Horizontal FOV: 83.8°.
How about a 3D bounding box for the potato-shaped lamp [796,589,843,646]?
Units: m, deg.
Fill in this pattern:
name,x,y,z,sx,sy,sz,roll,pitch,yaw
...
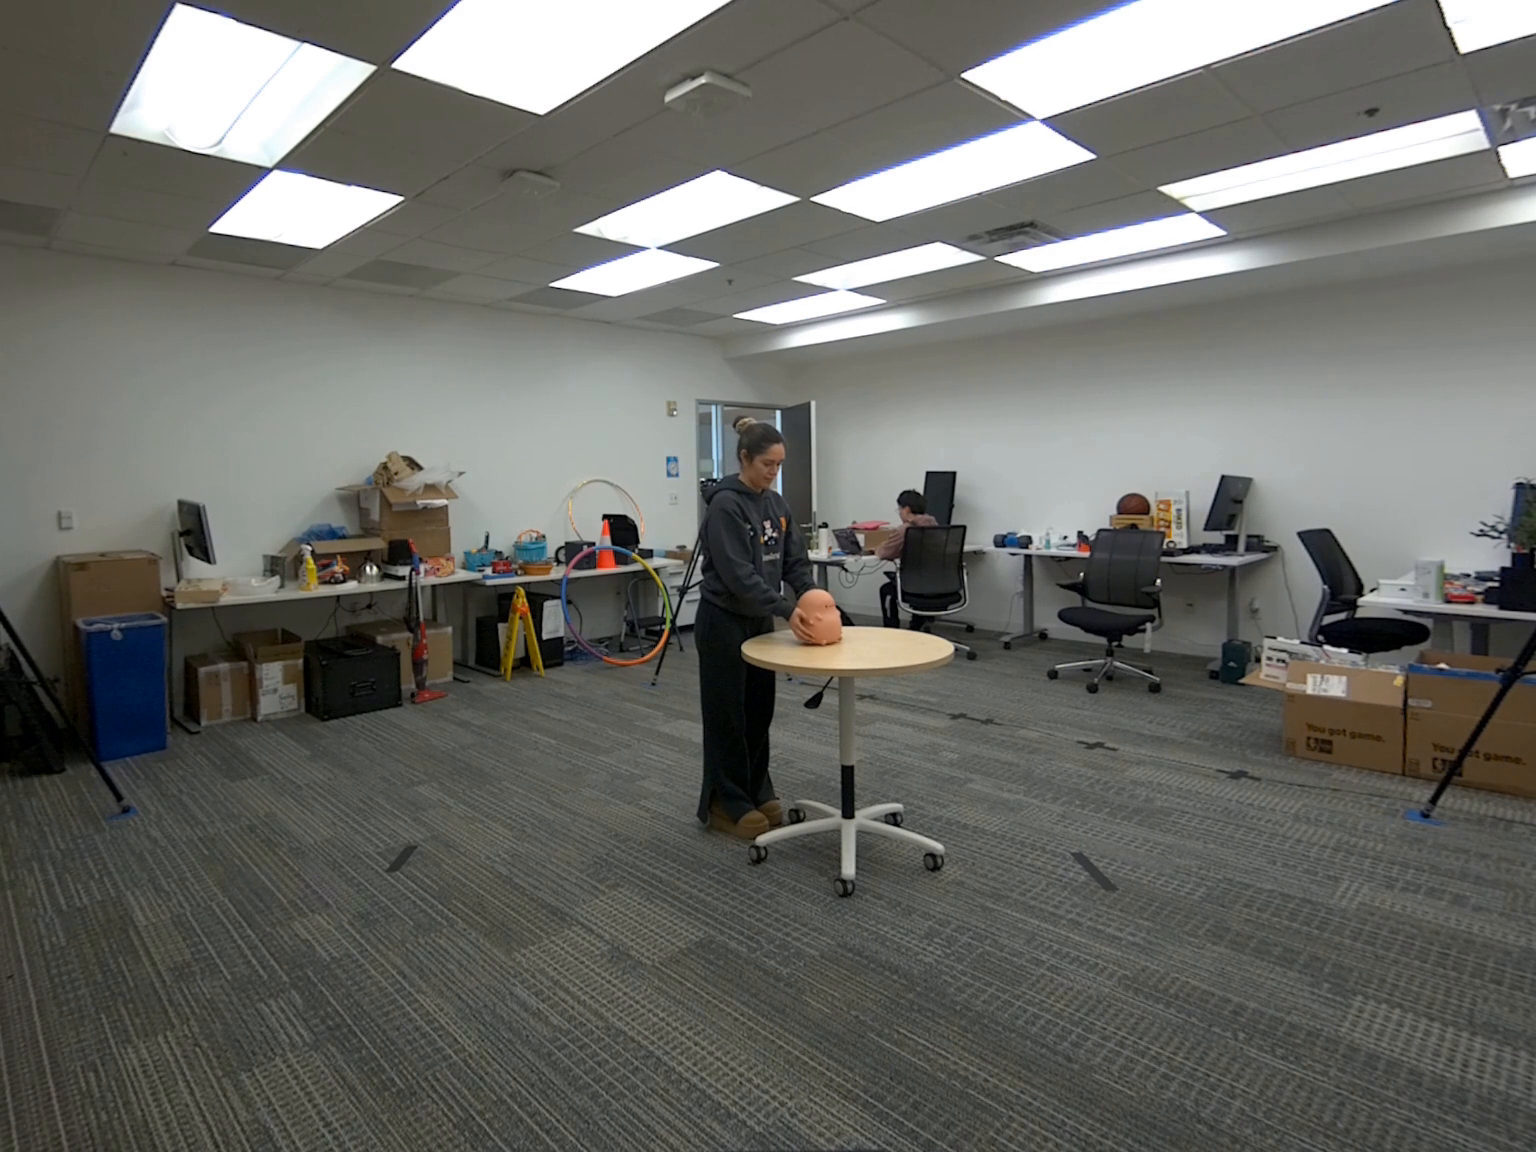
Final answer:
name,x,y,z,sx,sy,sz,roll,pitch,yaw
potato-shaped lamp,0.189,0.154,3.171,0.176,0.197,0.160,4,5,38
